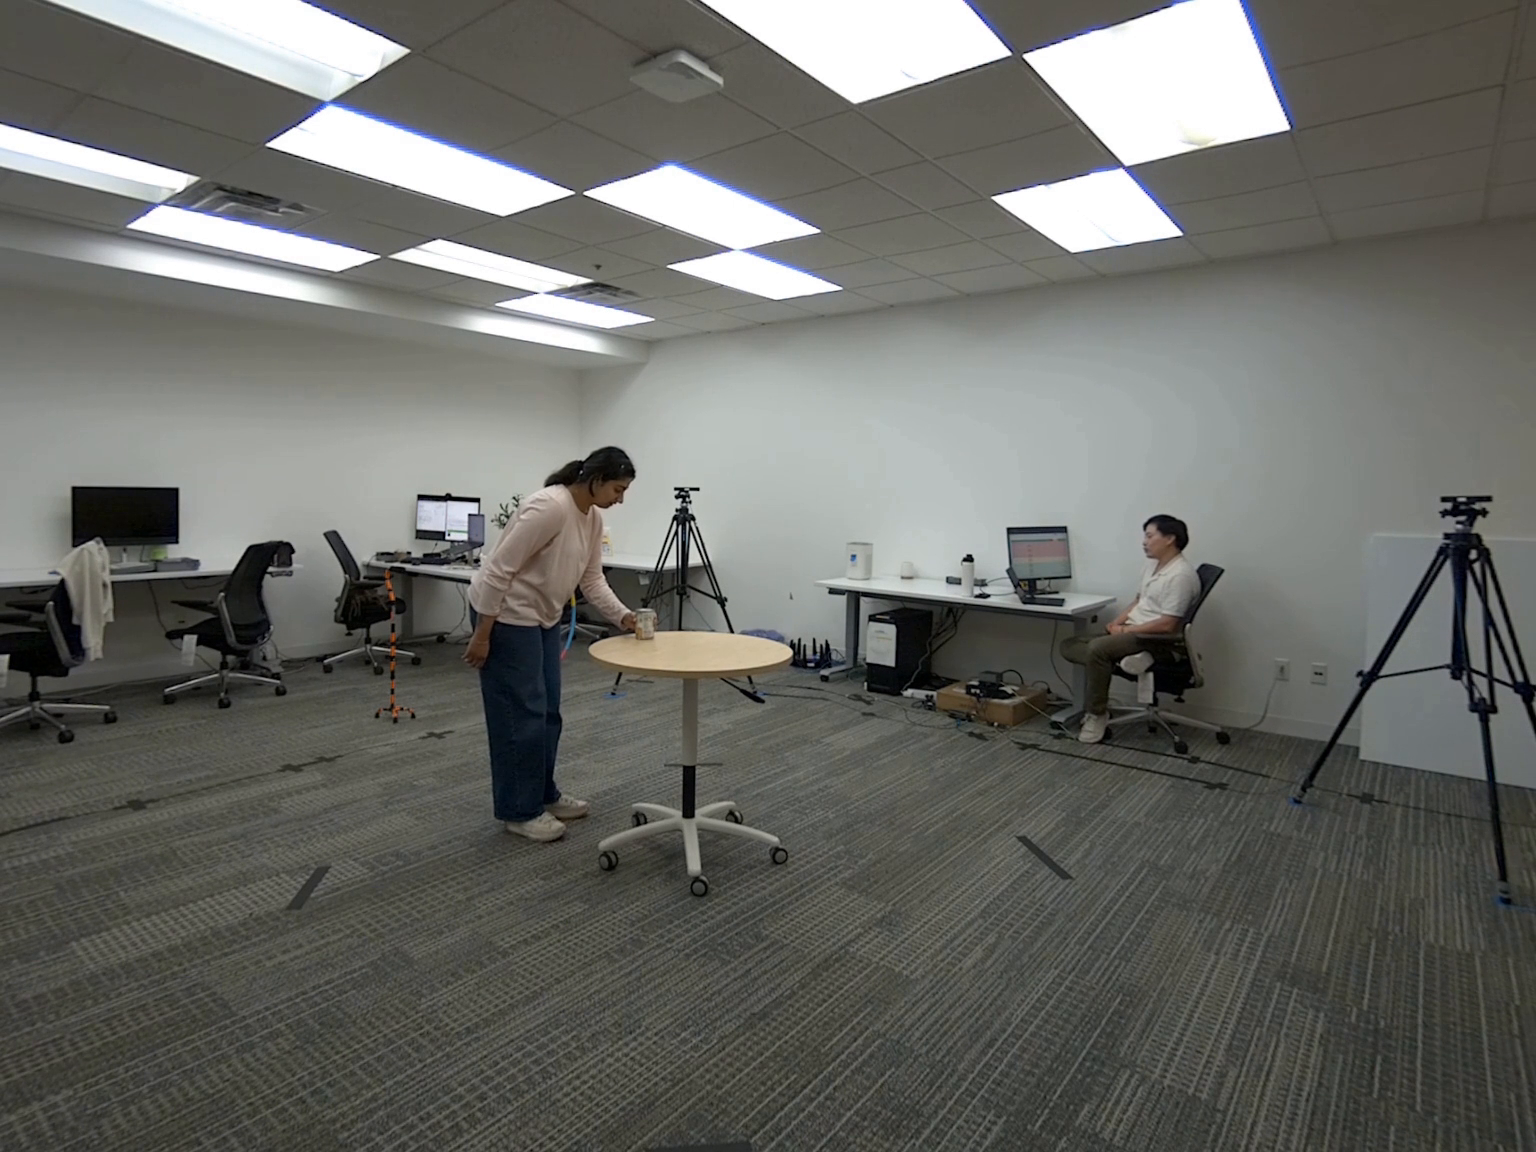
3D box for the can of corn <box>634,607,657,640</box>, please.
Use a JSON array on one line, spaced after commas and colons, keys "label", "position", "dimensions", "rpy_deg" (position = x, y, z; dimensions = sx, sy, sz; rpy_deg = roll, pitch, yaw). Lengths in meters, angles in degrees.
[{"label": "can of corn", "position": [-0.526, 0.188, 3.444], "dimensions": [0.074, 0.111, 0.074], "rpy_deg": [-2, 2, -2]}]
